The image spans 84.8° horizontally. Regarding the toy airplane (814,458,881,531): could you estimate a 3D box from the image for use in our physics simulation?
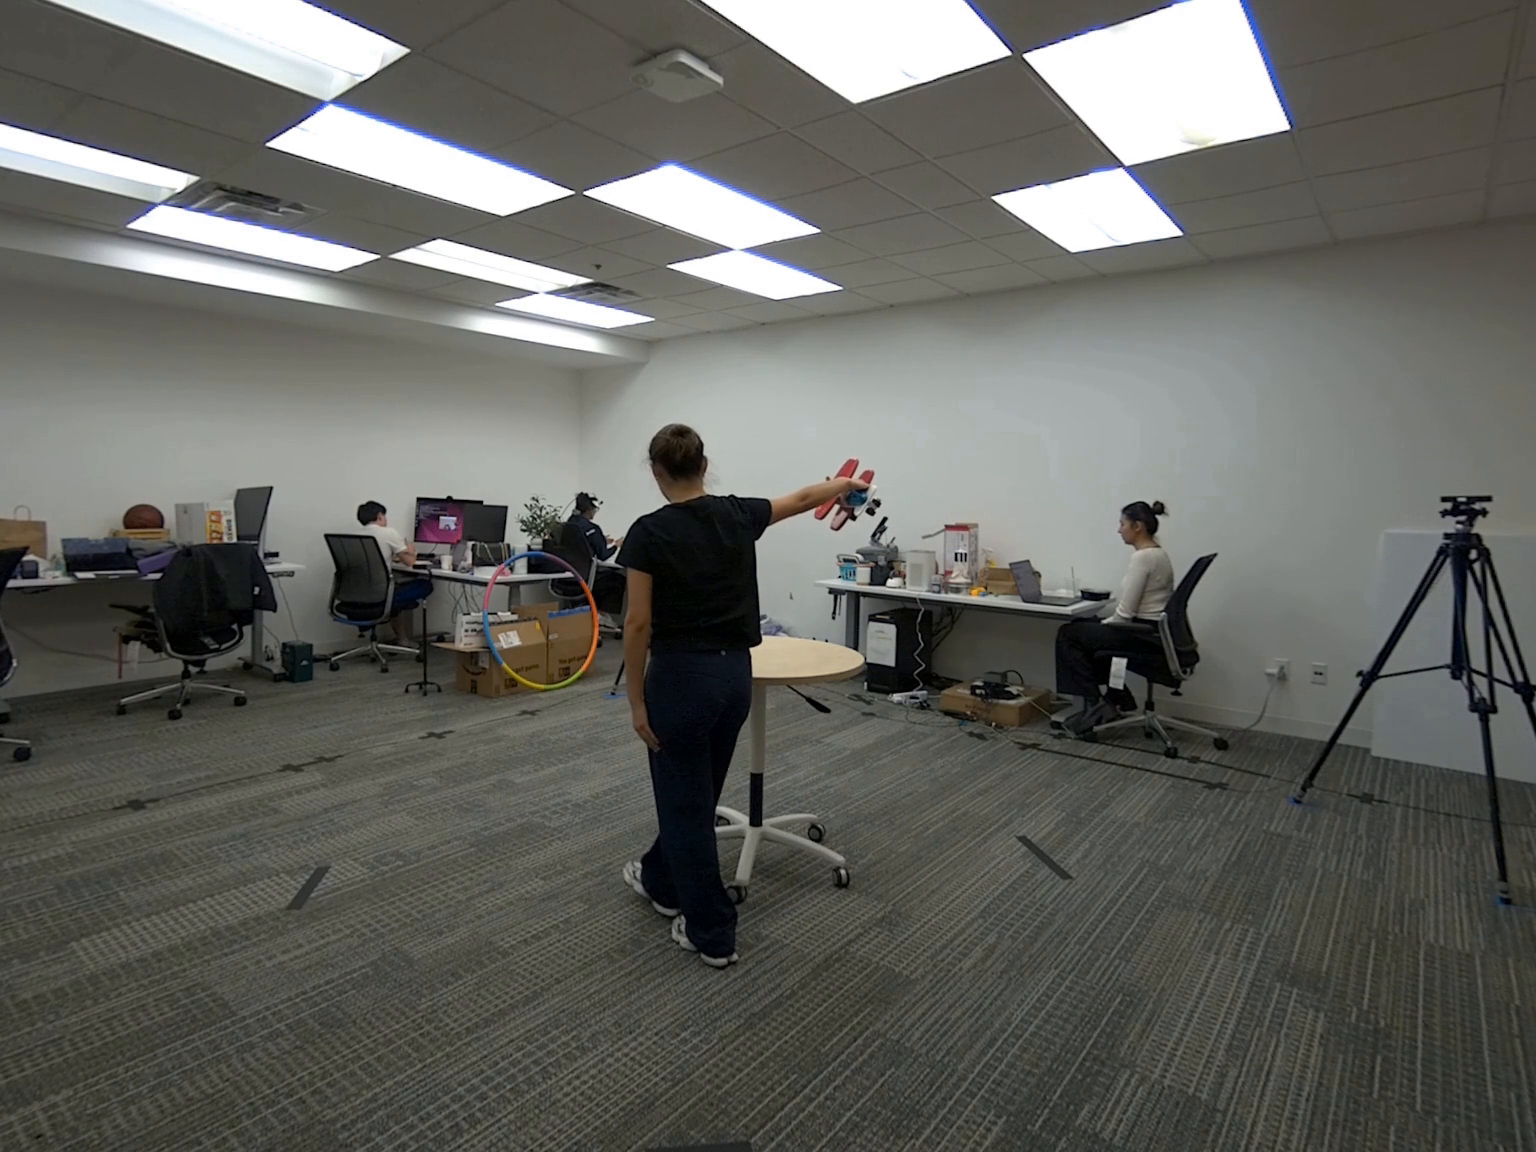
[{"bbox_3d":[0.326,-0.295,3.012,0.155,0.253,0.260,33,-29,-9],"label":"toy airplane"}]
